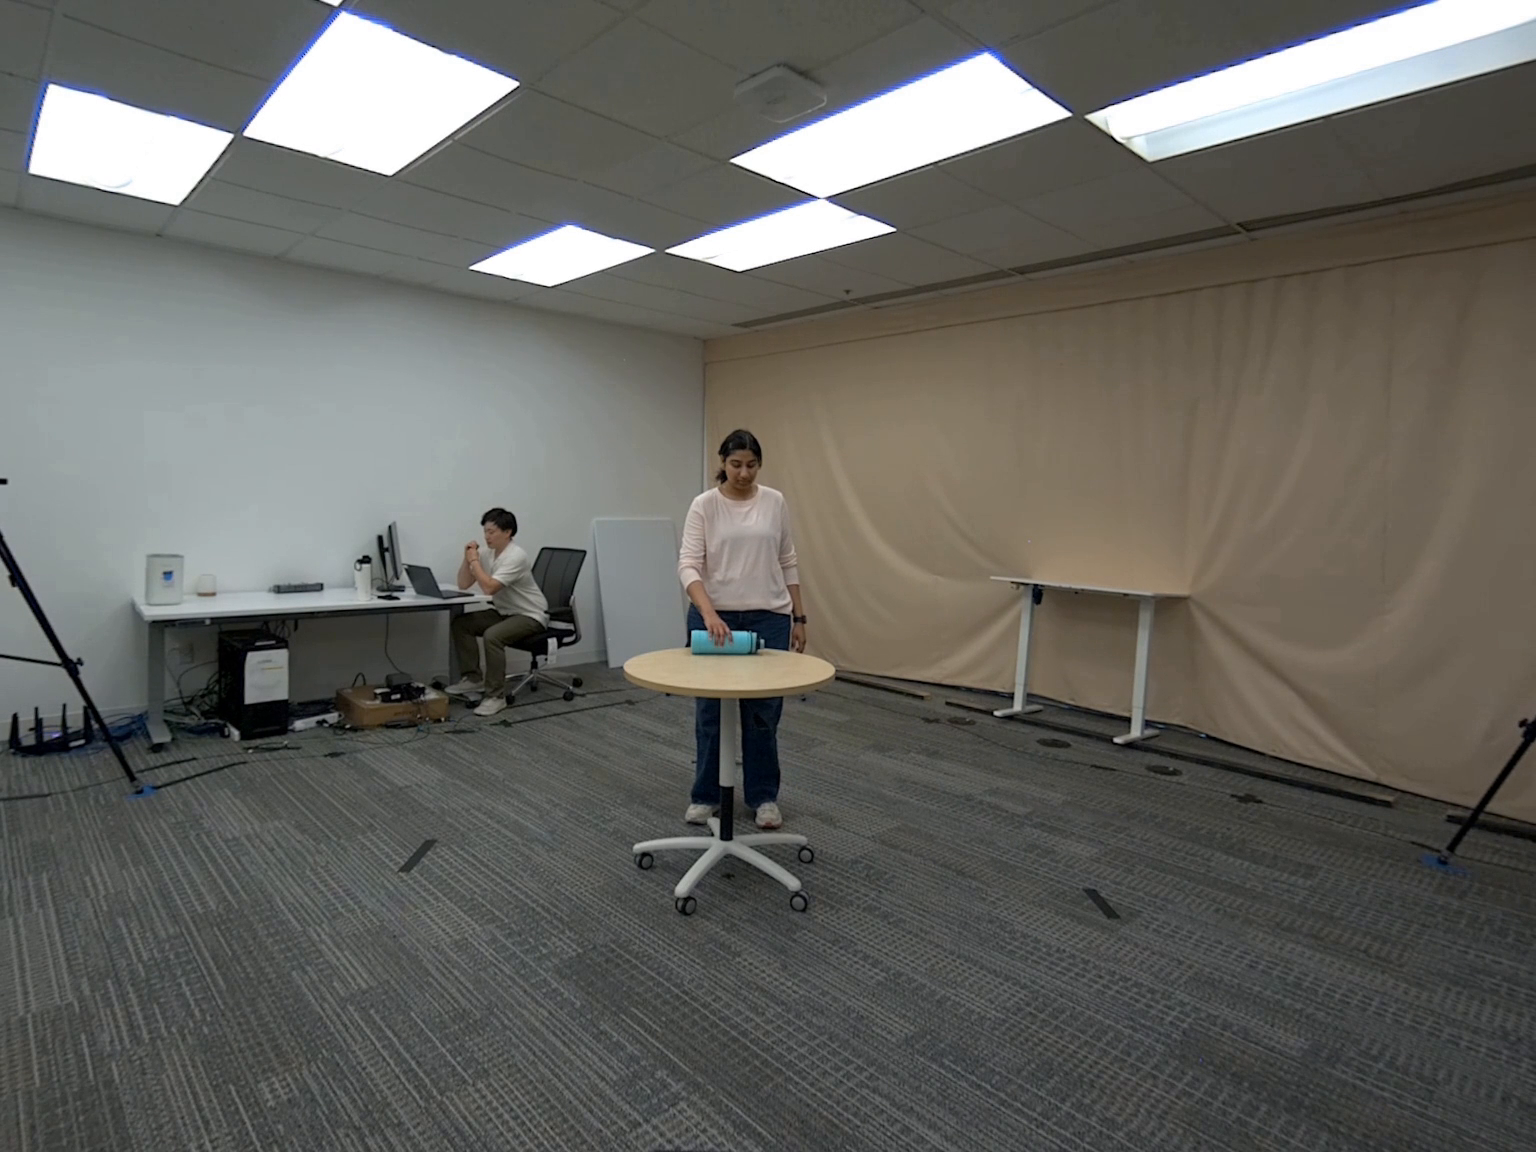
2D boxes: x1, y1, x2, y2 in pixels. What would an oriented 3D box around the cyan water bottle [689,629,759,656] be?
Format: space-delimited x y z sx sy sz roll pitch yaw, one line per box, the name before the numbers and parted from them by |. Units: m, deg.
cyan water bottle | -0.172 0.260 3.275 0.283 0.092 0.093 1 4 -3
